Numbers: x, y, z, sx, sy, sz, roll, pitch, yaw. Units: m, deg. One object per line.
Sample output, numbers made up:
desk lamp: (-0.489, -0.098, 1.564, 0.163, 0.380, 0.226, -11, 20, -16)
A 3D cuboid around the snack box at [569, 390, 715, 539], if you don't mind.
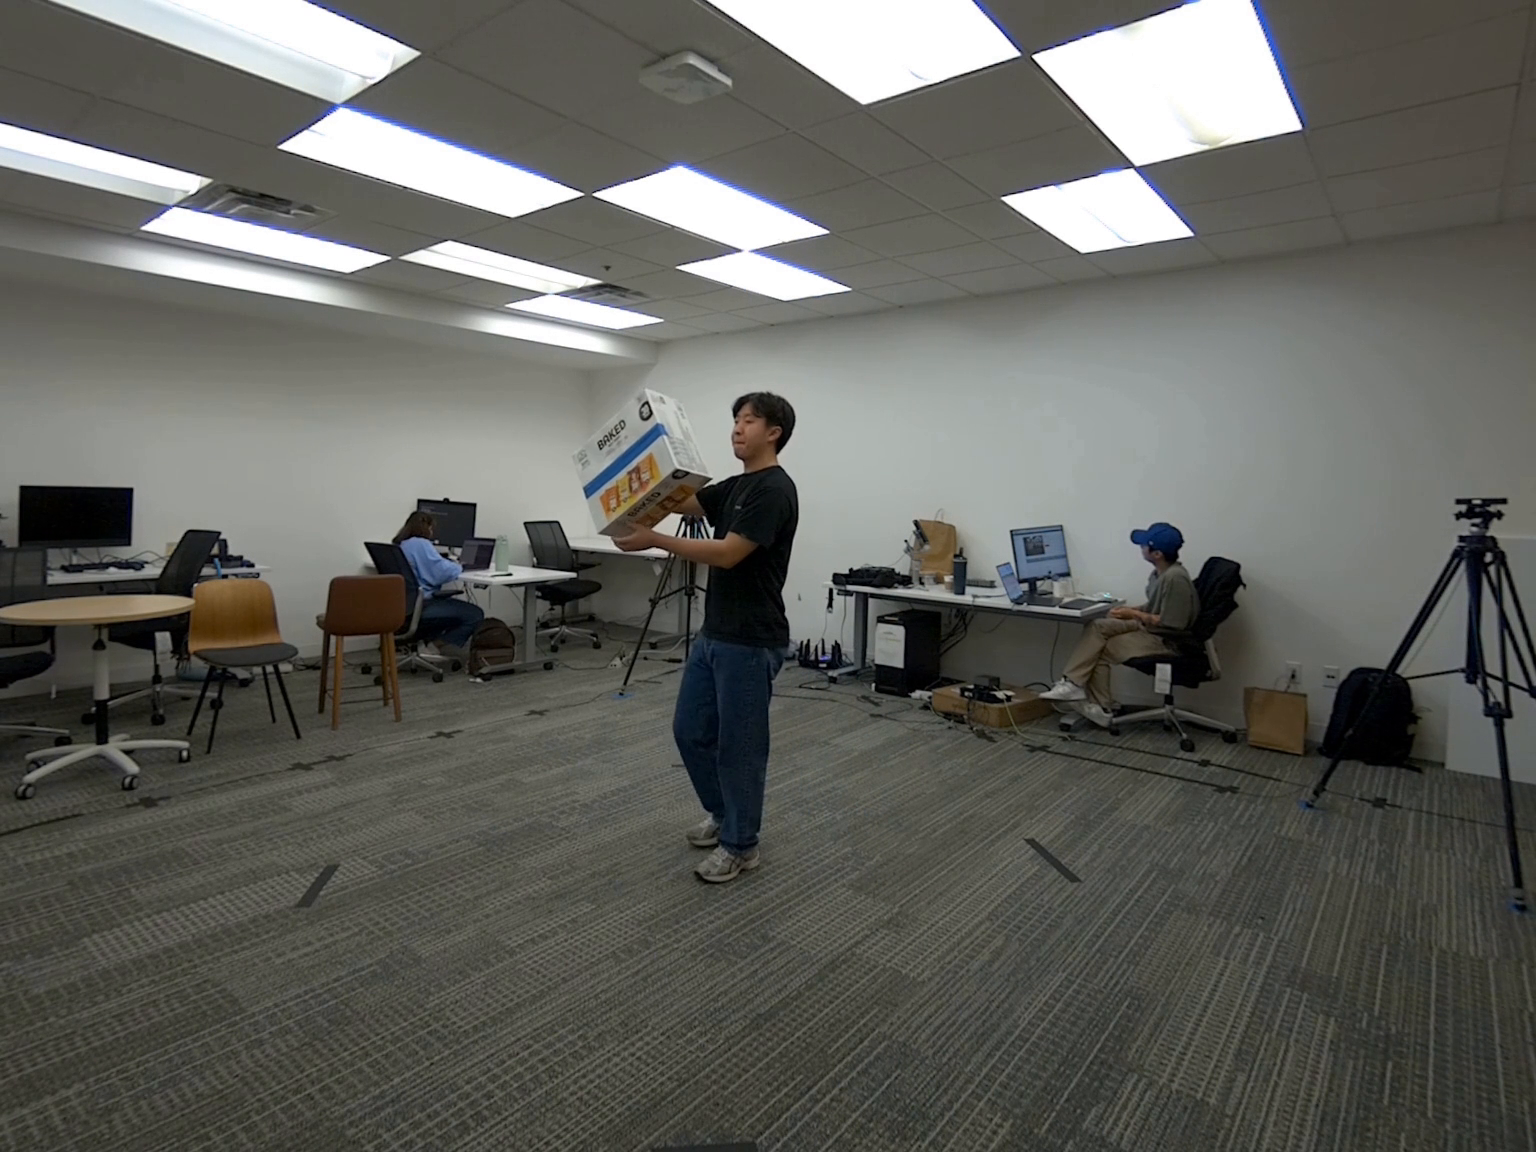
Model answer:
snack box: (-0.457, -0.382, 2.990, 0.408, 0.350, 0.198, -36, -26, 28)
